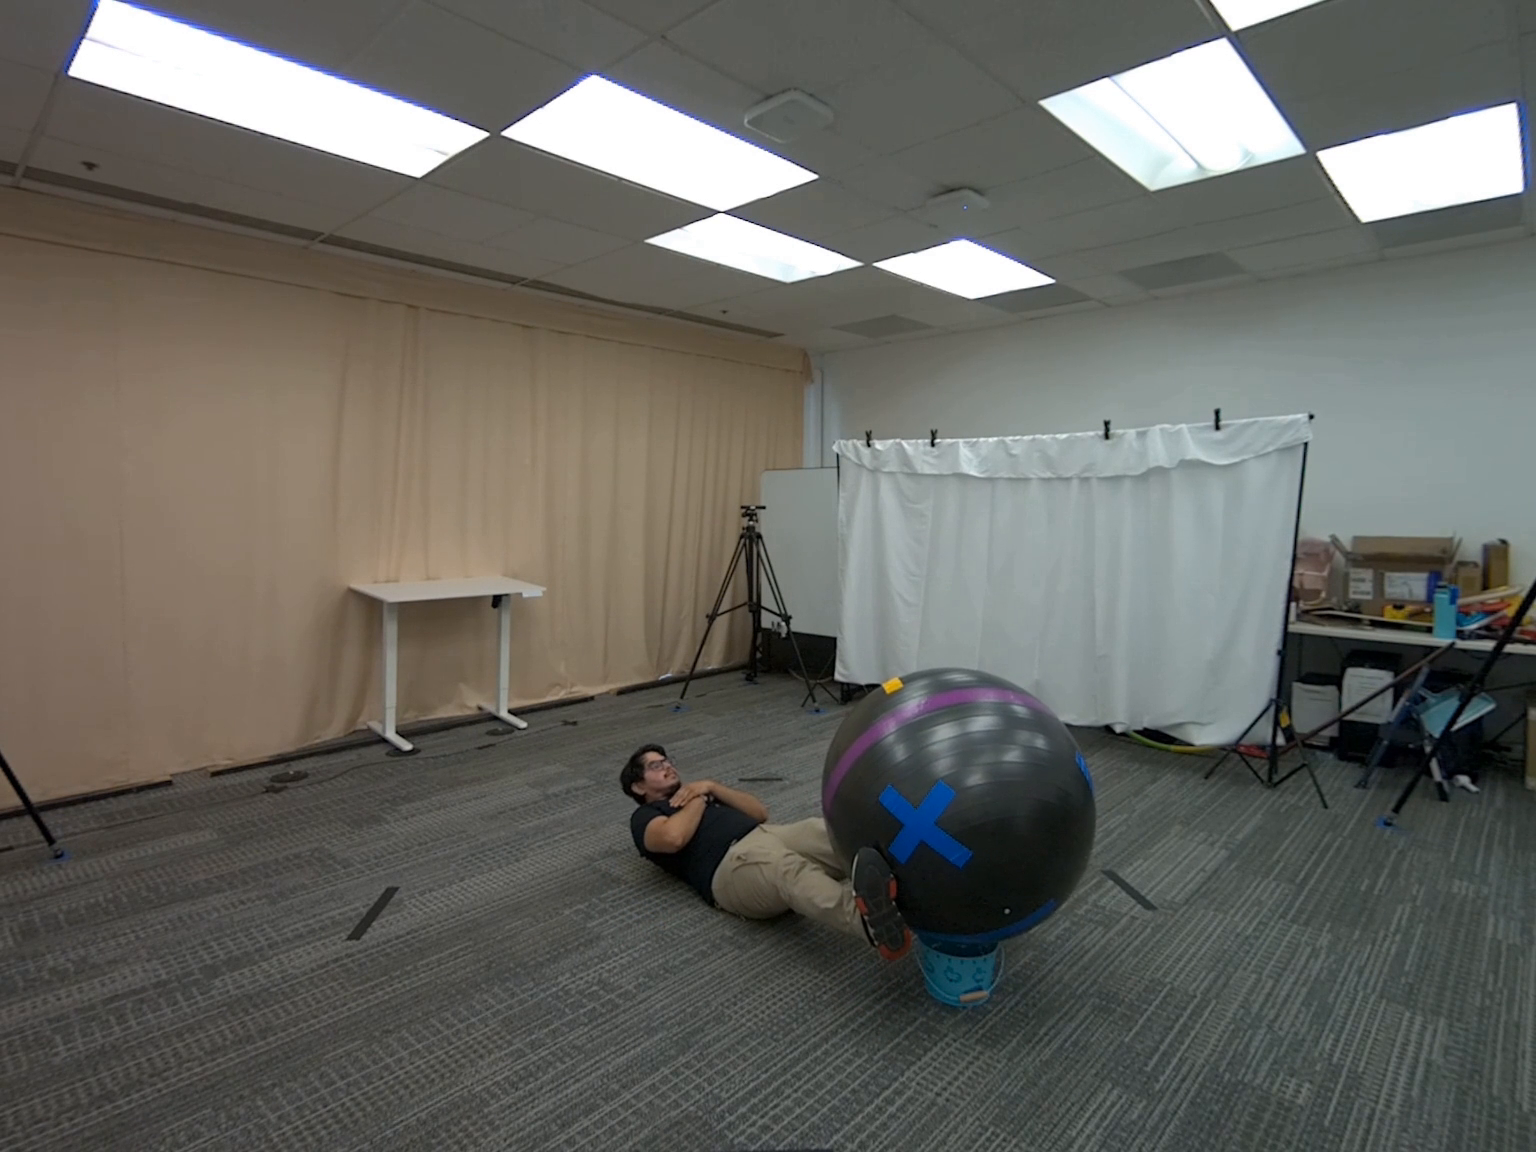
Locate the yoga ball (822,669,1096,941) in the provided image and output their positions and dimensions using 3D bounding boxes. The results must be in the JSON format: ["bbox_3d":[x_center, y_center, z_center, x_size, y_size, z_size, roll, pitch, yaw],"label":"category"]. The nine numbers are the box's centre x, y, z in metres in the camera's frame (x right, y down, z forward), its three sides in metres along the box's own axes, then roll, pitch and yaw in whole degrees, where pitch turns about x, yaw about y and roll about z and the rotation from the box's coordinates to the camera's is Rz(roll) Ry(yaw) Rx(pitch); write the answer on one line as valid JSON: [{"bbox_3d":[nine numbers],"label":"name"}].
[{"bbox_3d":[0.542,0.657,2.432,0.757,0.756,0.760,0,4,-2],"label":"yoga ball"}]
